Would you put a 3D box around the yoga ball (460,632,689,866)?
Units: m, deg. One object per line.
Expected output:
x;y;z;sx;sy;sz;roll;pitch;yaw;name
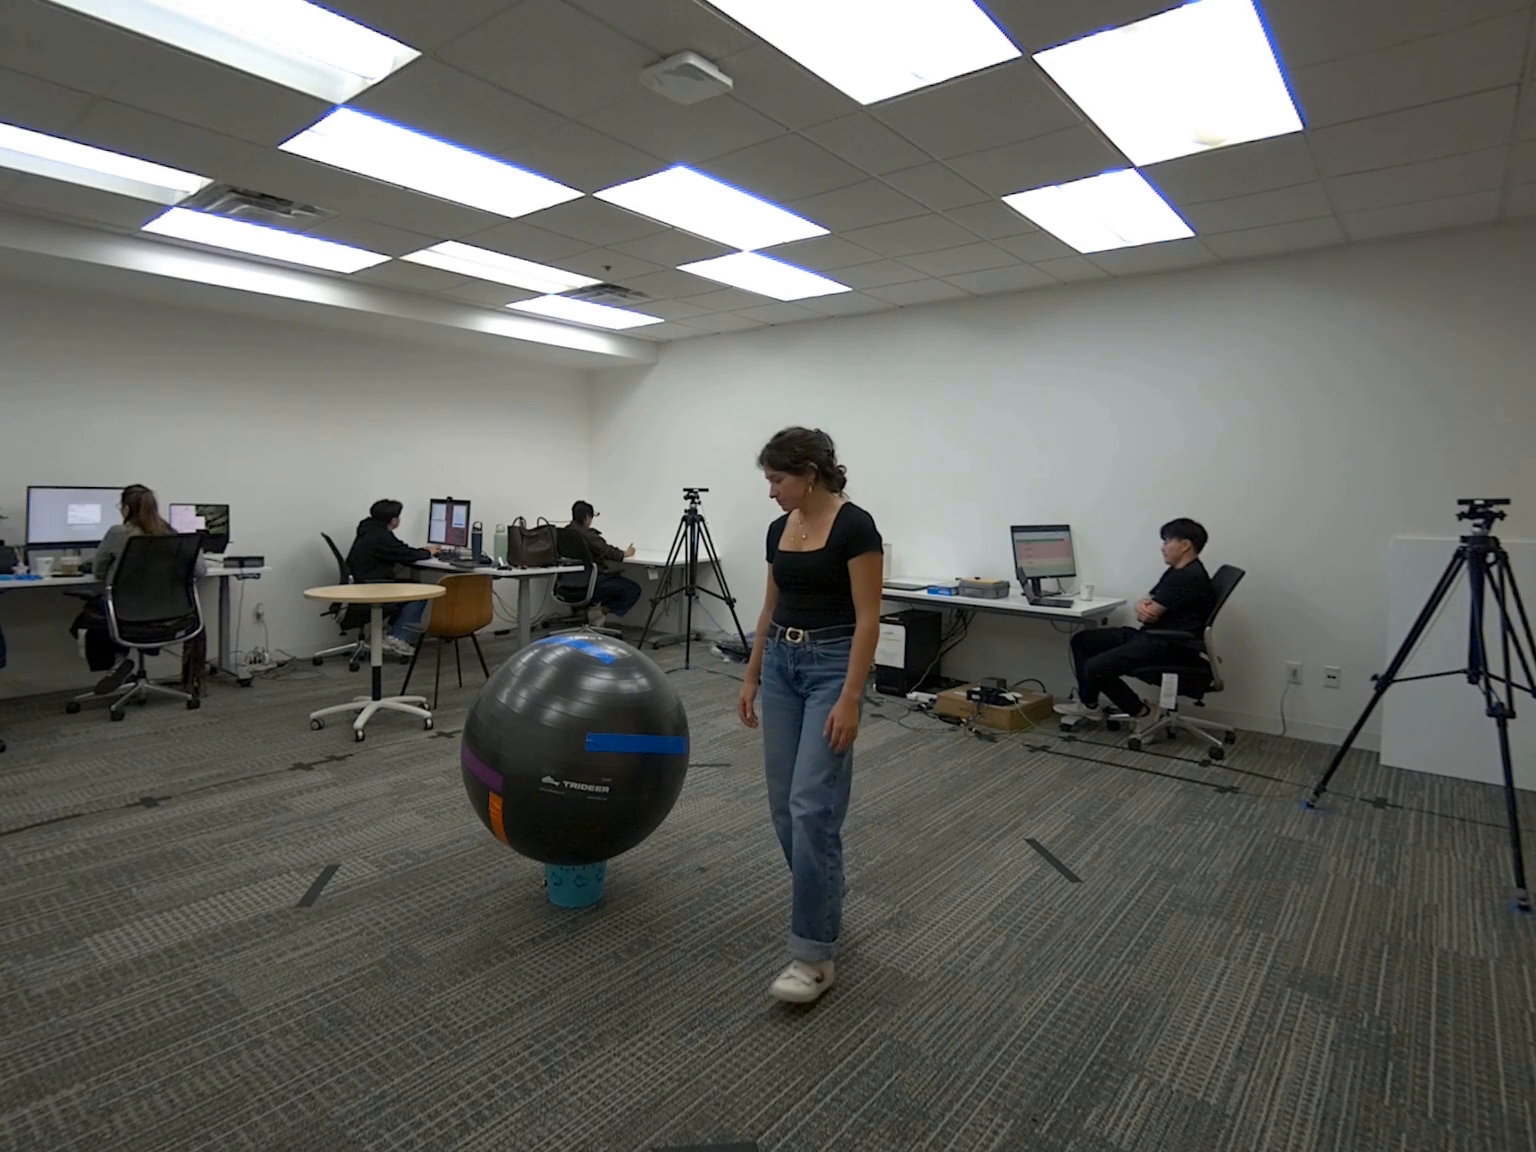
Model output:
-0.656;0.574;2.869;0.757;0.755;0.762;1;4;-2;yoga ball
